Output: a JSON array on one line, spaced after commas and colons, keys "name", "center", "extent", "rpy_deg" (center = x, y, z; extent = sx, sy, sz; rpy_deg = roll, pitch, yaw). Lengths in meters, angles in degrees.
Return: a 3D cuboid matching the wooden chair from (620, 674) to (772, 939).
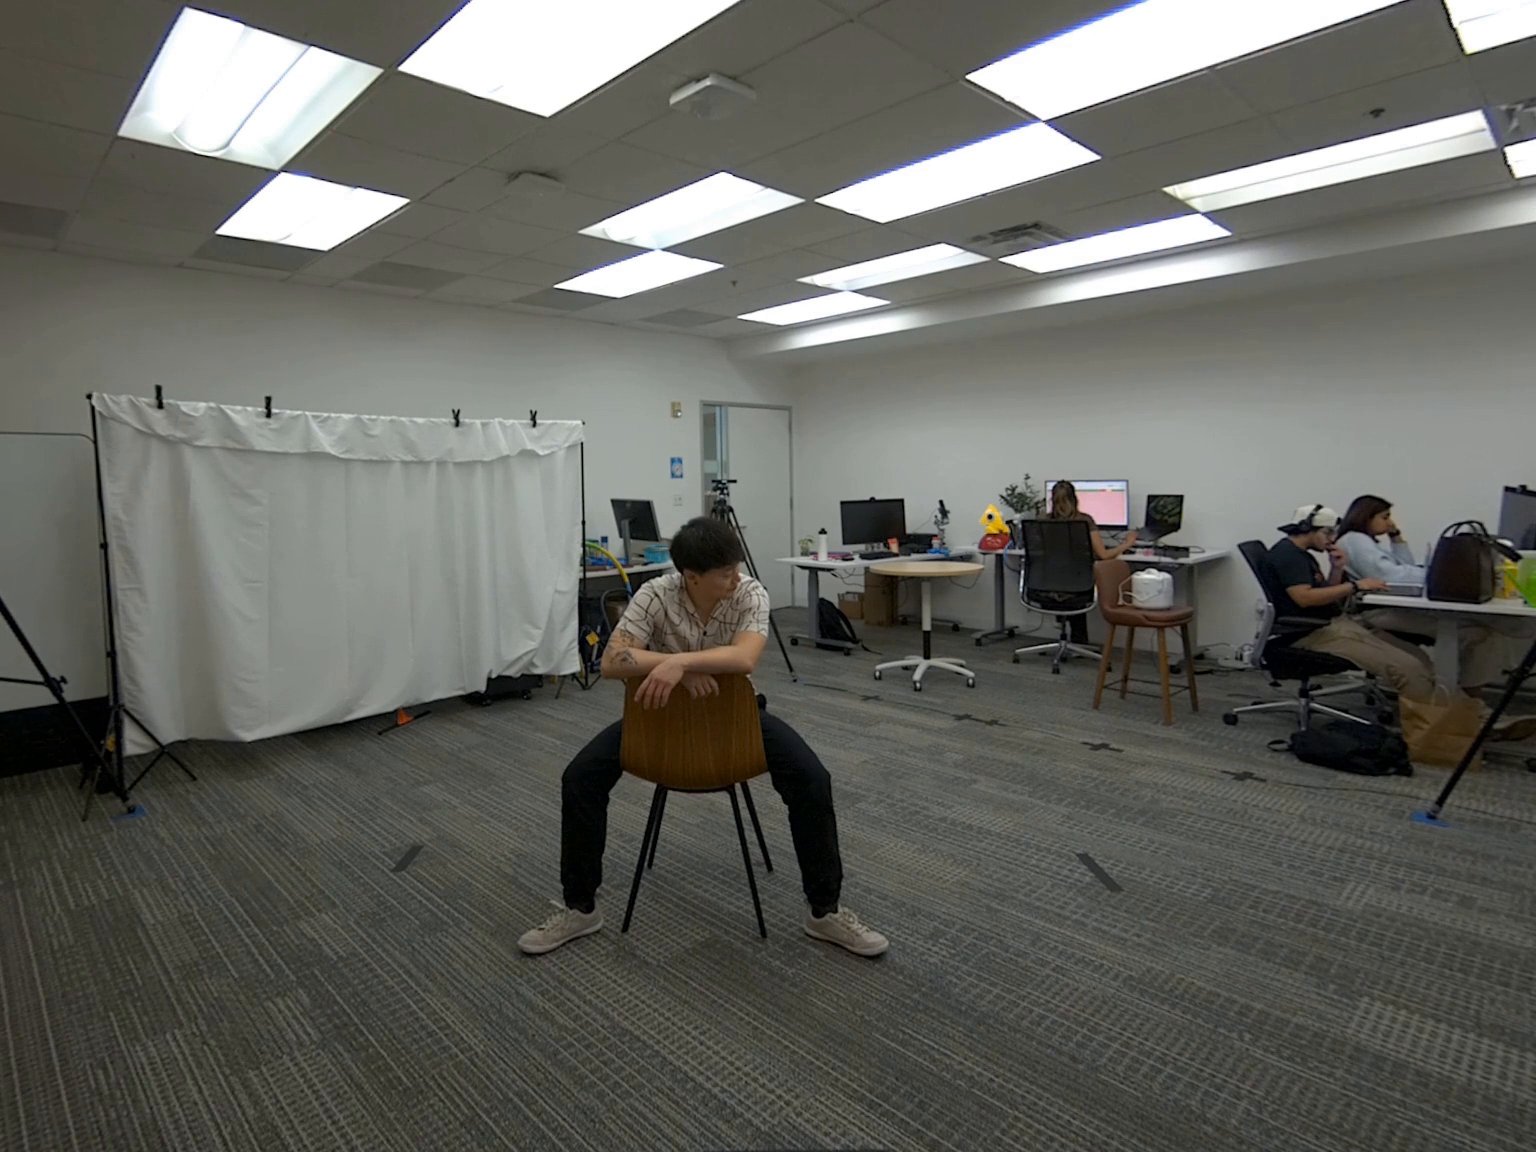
[{"name": "wooden chair", "center": [-0.224, 0.665, 2.831], "extent": [0.480, 0.870, 0.525], "rpy_deg": [-1, 9, 4]}]
